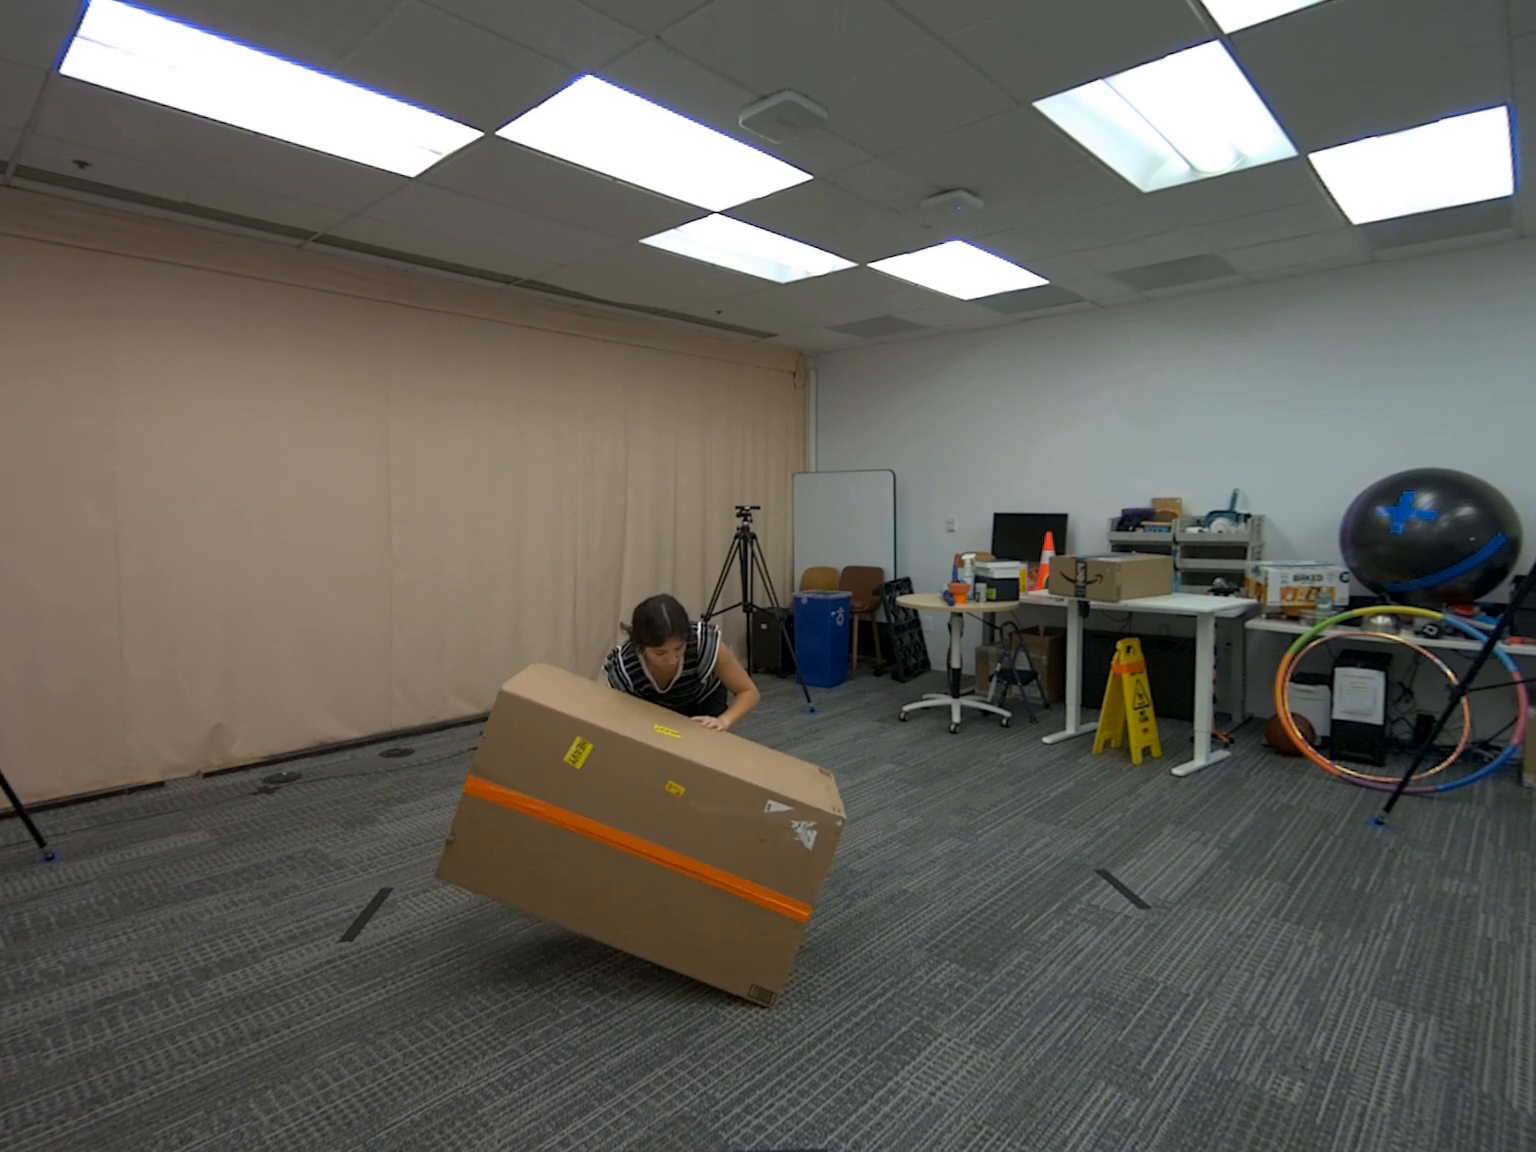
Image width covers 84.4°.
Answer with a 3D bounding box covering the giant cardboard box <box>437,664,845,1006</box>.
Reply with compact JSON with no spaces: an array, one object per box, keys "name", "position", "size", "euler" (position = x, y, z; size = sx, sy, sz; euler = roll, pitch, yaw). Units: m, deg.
[{"name":"giant cardboard box","position":[-0.361,0.737,2.525],"size":[1.027,0.577,0.426],"euler":[20,3,1]}]
